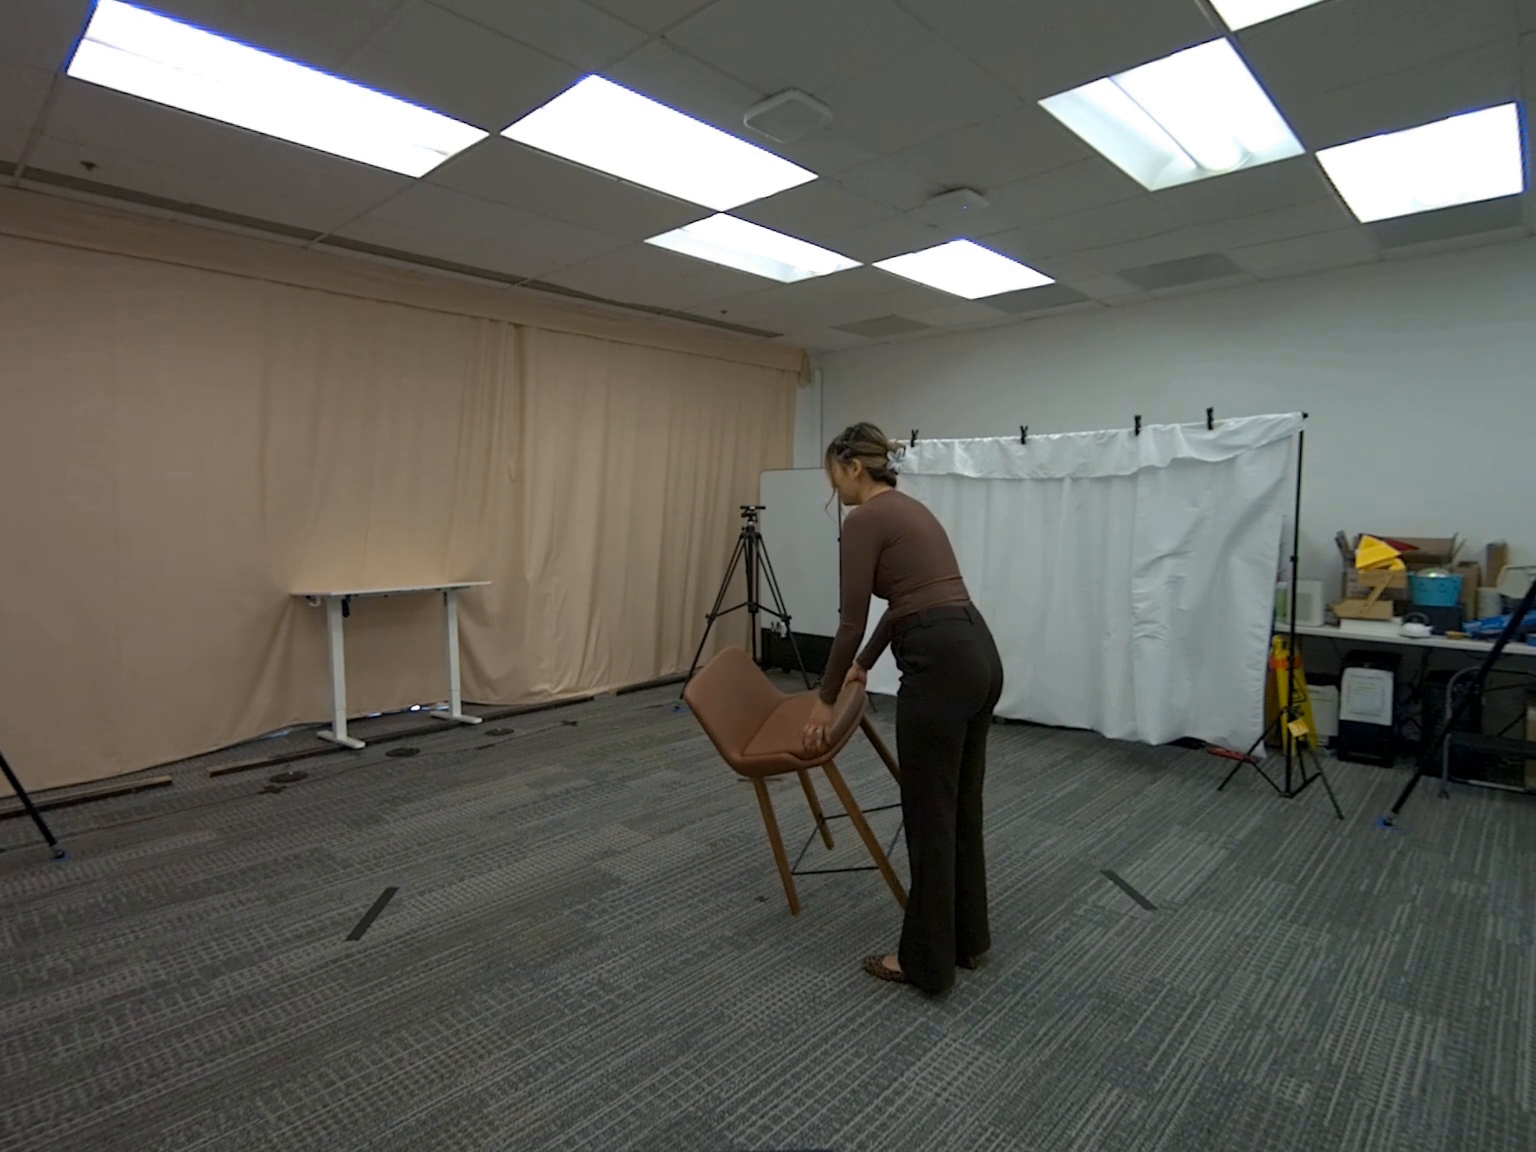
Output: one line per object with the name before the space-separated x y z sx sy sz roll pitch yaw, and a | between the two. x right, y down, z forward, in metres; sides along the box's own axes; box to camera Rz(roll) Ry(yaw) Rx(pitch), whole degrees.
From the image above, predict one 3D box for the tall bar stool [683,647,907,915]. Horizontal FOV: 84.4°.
tall bar stool | 0.157 0.645 2.847 0.477 0.882 0.451 -21 10 33
